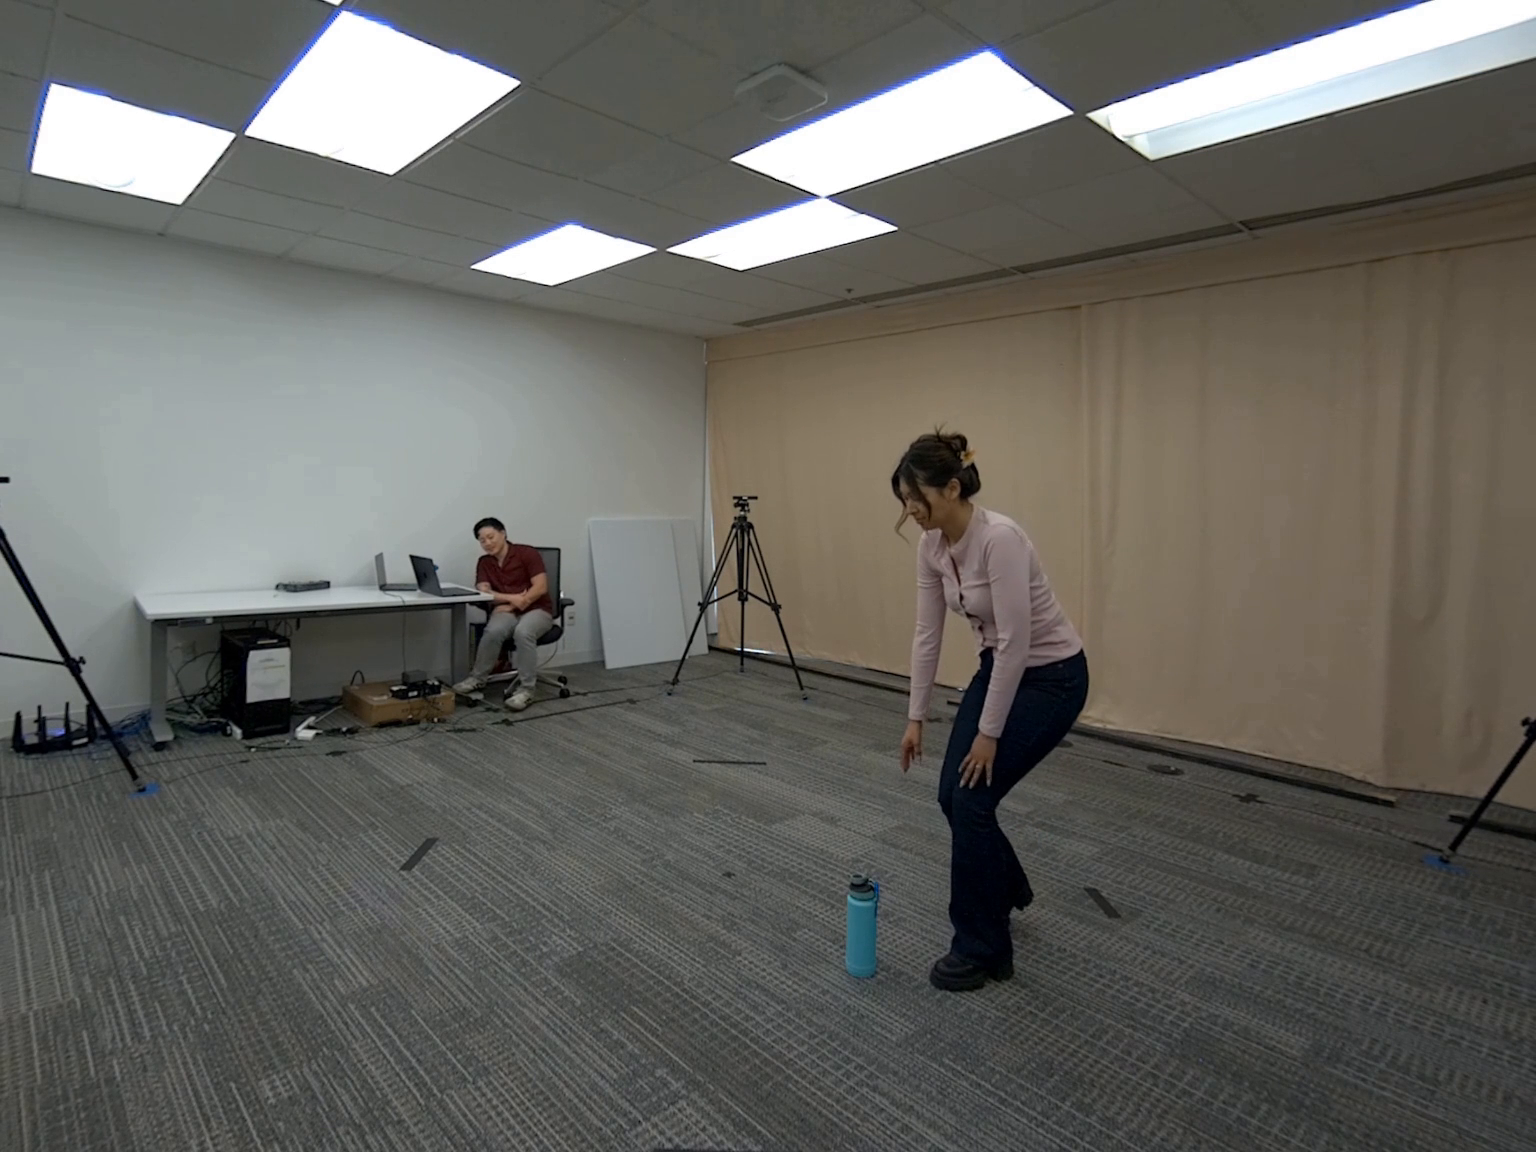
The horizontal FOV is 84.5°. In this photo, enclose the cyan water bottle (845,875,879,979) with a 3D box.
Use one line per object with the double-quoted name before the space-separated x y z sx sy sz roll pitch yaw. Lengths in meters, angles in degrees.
"cyan water bottle" 0.277 1.026 2.489 0.092 0.282 0.093 3 4 -2
